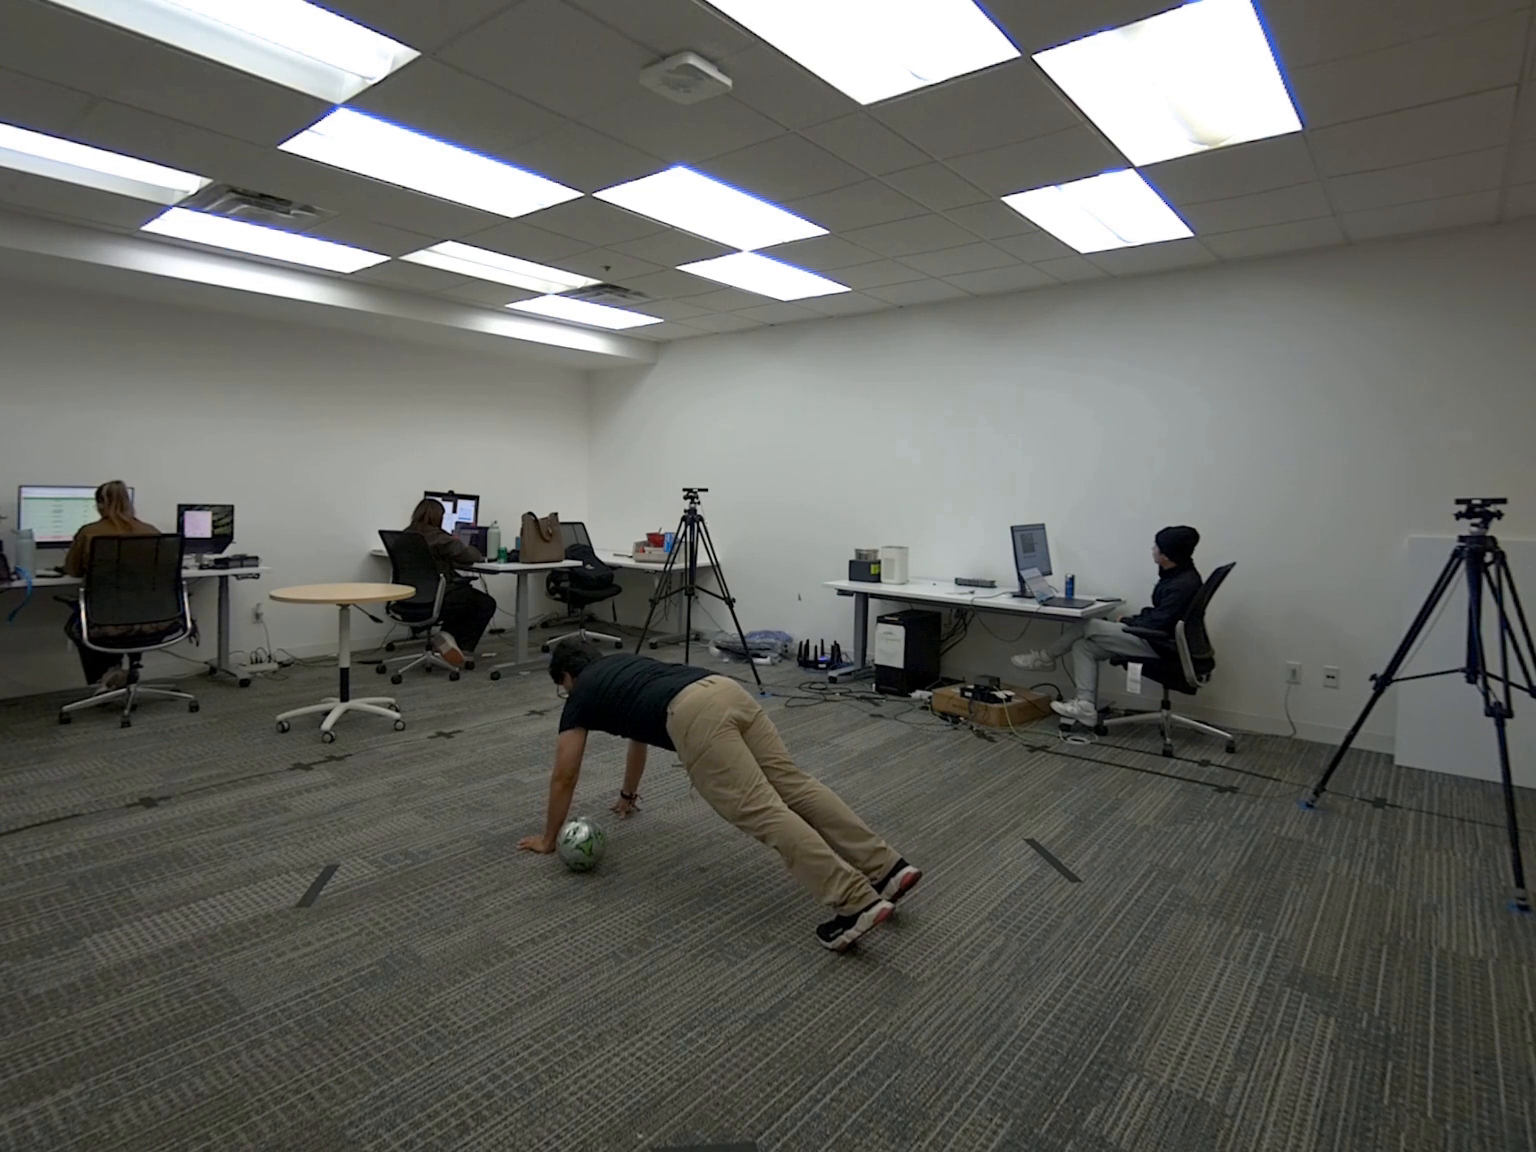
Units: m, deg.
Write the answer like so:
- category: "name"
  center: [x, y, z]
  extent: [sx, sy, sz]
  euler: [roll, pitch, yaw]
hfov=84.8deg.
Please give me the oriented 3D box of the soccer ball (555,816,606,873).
- category: "soccer ball"
  center: [-0.690, 0.969, 3.098]
  extent: [0.187, 0.187, 0.188]
  euler: [1, 4, -2]
